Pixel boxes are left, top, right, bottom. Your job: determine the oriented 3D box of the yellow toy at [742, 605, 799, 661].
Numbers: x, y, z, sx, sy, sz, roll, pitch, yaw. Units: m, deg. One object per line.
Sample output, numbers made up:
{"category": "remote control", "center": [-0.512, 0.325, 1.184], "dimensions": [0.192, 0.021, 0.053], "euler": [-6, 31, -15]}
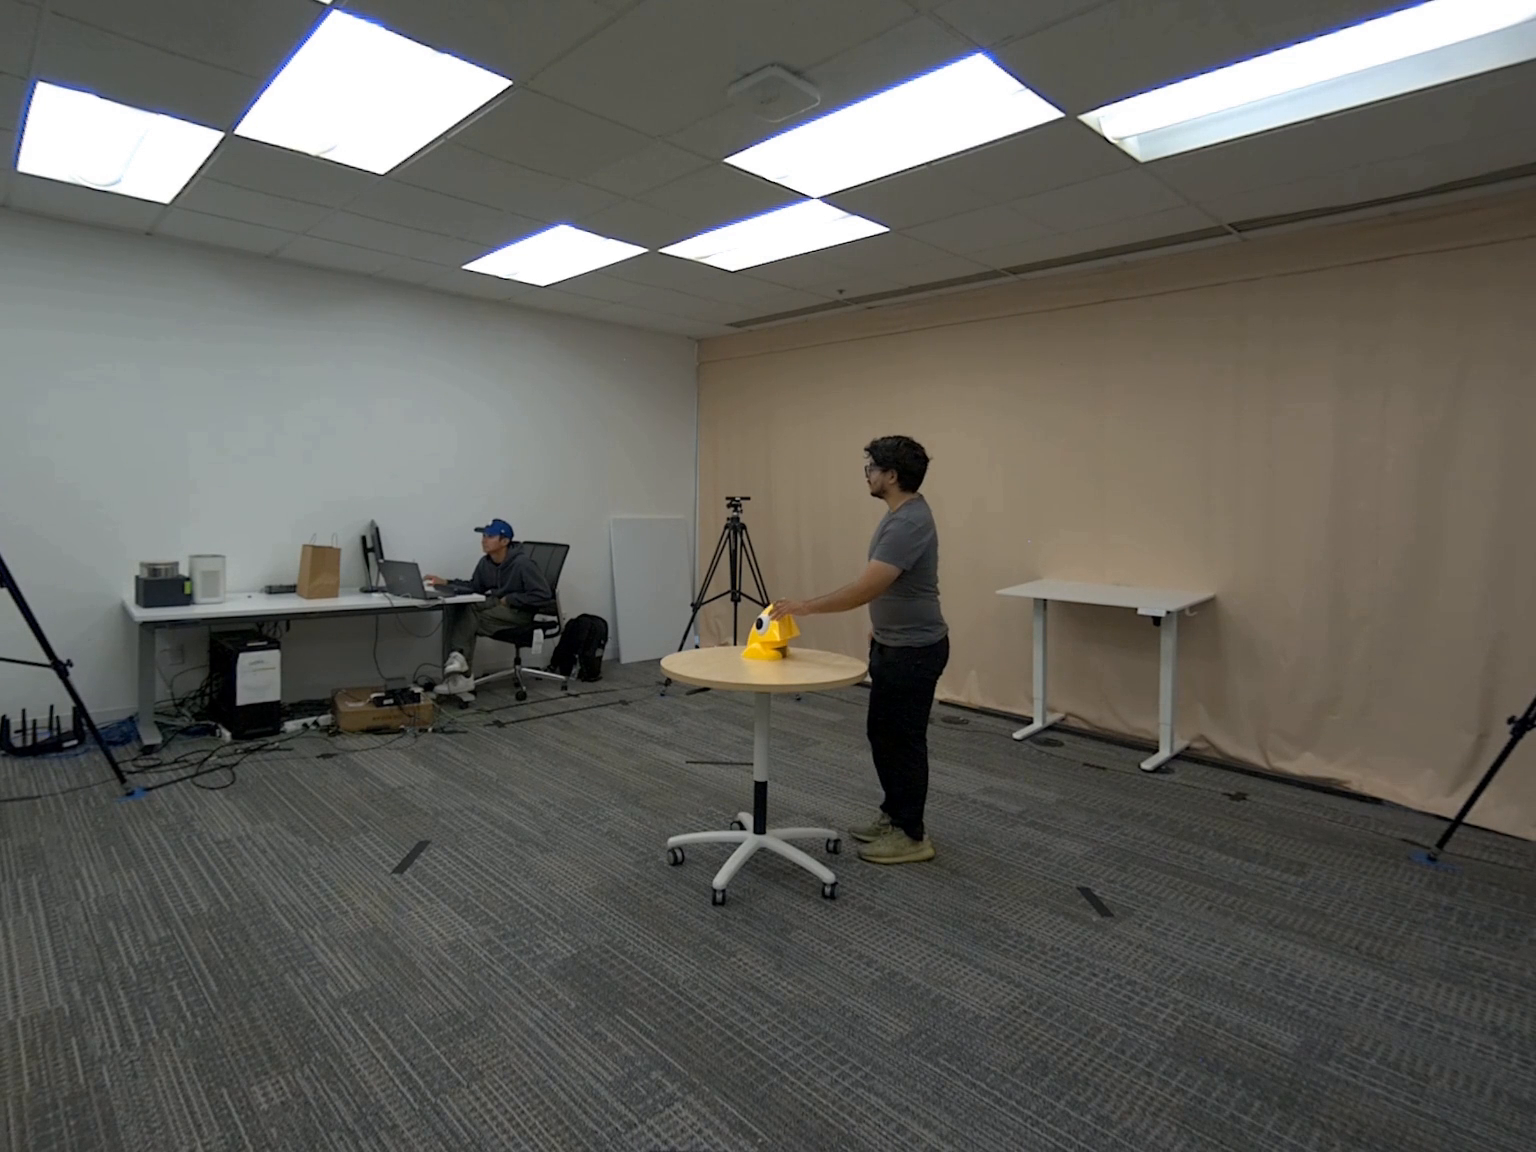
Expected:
{"category": "yellow toy", "center": [0.001, 0.197, 3.282], "dimensions": [0.197, 0.230, 0.201], "euler": [3, 3, 26]}
